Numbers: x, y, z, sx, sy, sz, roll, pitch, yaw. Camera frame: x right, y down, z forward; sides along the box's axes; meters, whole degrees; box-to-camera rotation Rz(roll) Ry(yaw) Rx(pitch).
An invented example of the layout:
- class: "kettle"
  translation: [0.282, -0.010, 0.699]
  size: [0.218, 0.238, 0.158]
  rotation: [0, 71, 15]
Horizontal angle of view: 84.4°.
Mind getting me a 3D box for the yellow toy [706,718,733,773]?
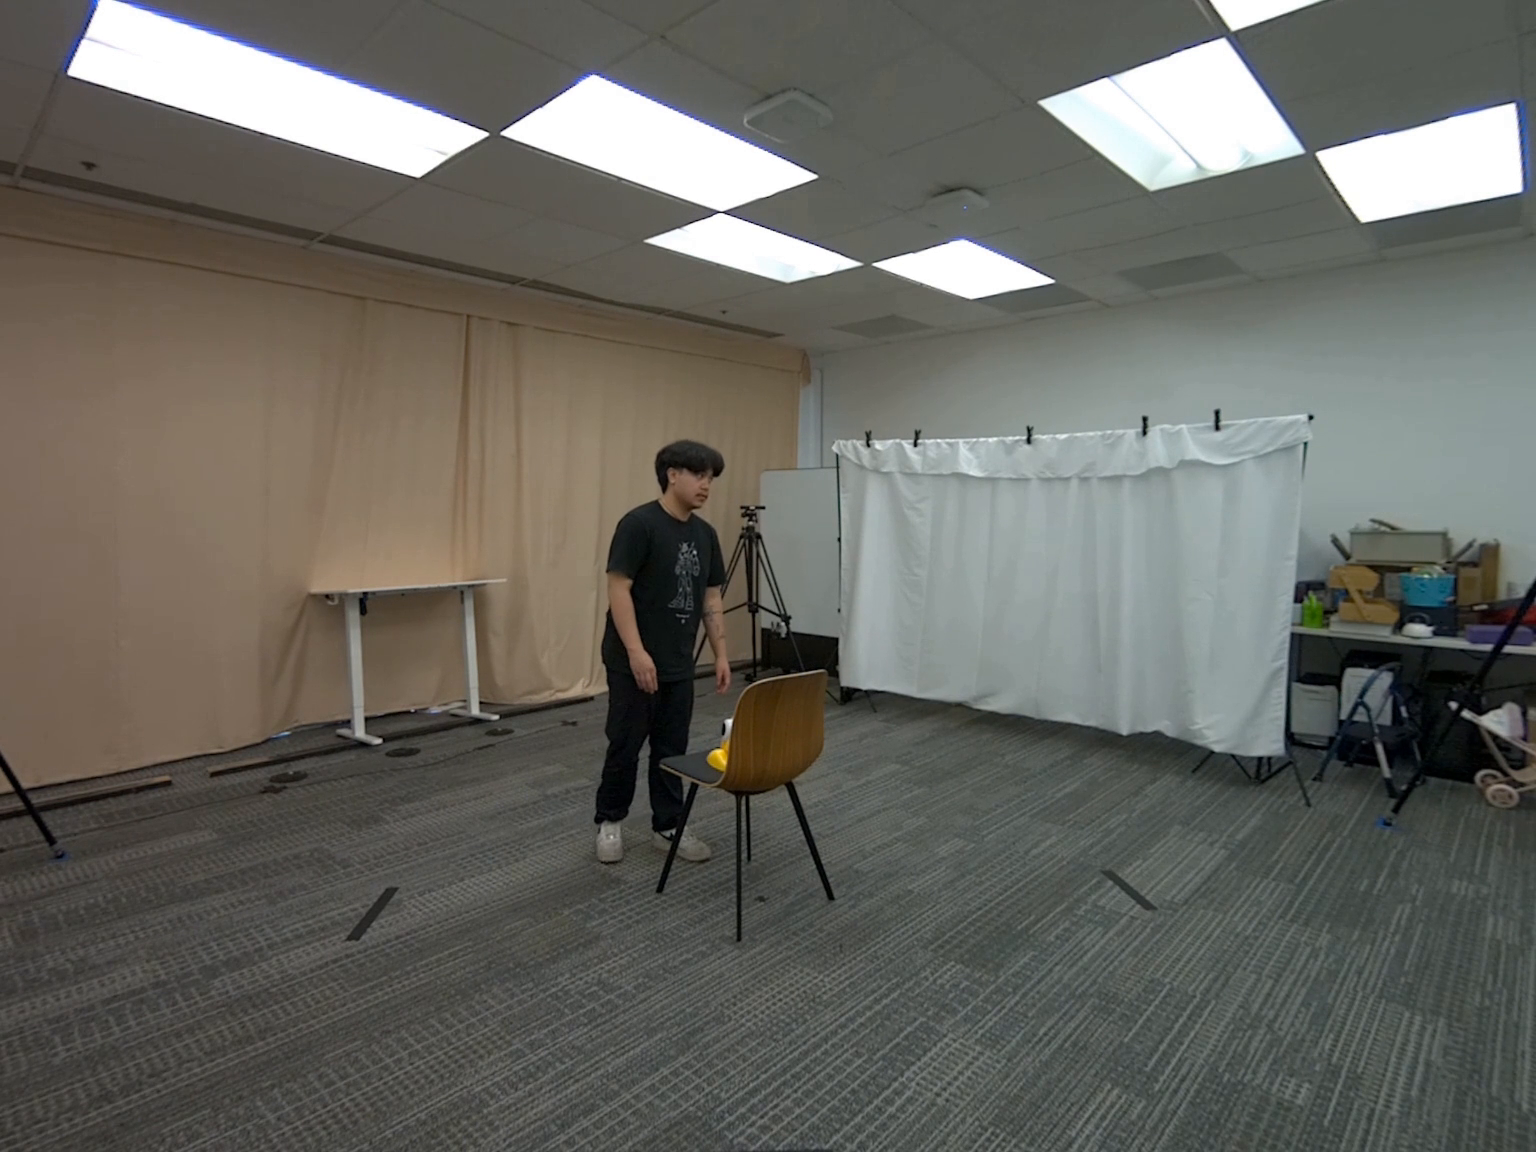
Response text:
- class: "yellow toy"
  translation: [-0.098, 0.554, 2.978]
  size: [0.198, 0.230, 0.200]
  rotation: [-4, 10, -42]
